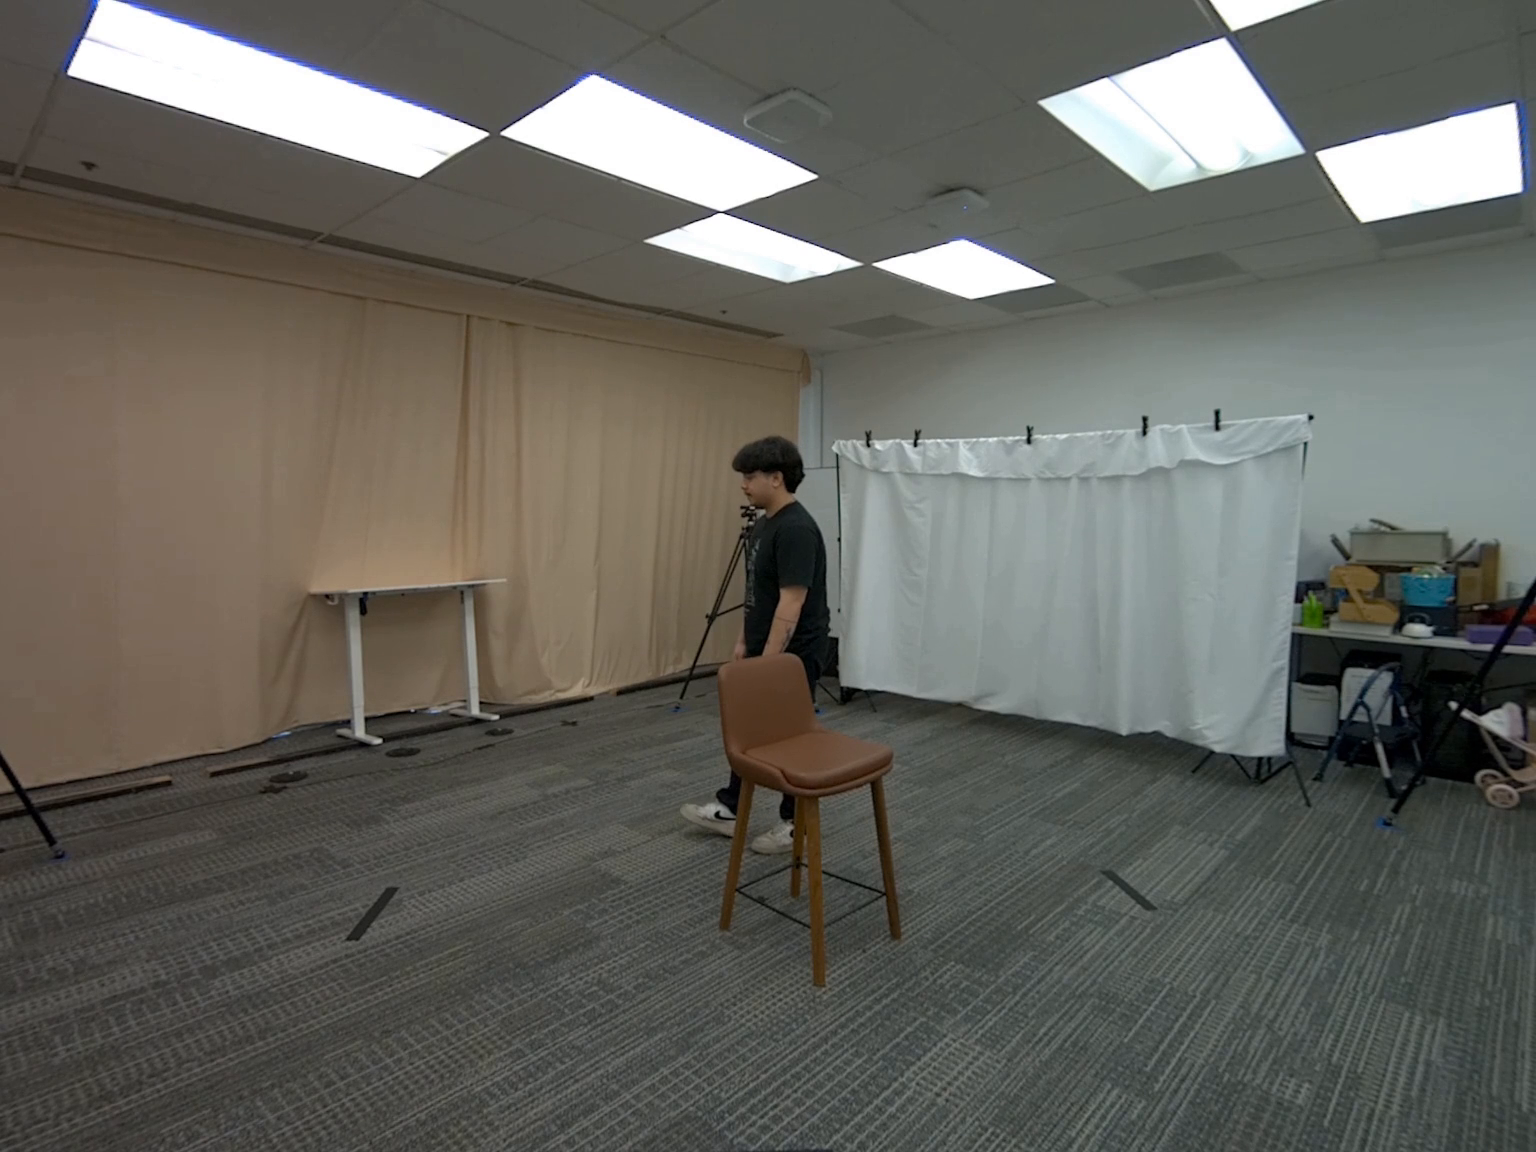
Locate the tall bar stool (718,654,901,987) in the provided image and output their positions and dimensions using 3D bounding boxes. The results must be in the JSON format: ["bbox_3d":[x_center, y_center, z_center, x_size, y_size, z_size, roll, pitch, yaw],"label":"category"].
[{"bbox_3d":[0.129,0.728,2.718,0.442,0.889,0.483,-3,3,-44],"label":"tall bar stool"}]
